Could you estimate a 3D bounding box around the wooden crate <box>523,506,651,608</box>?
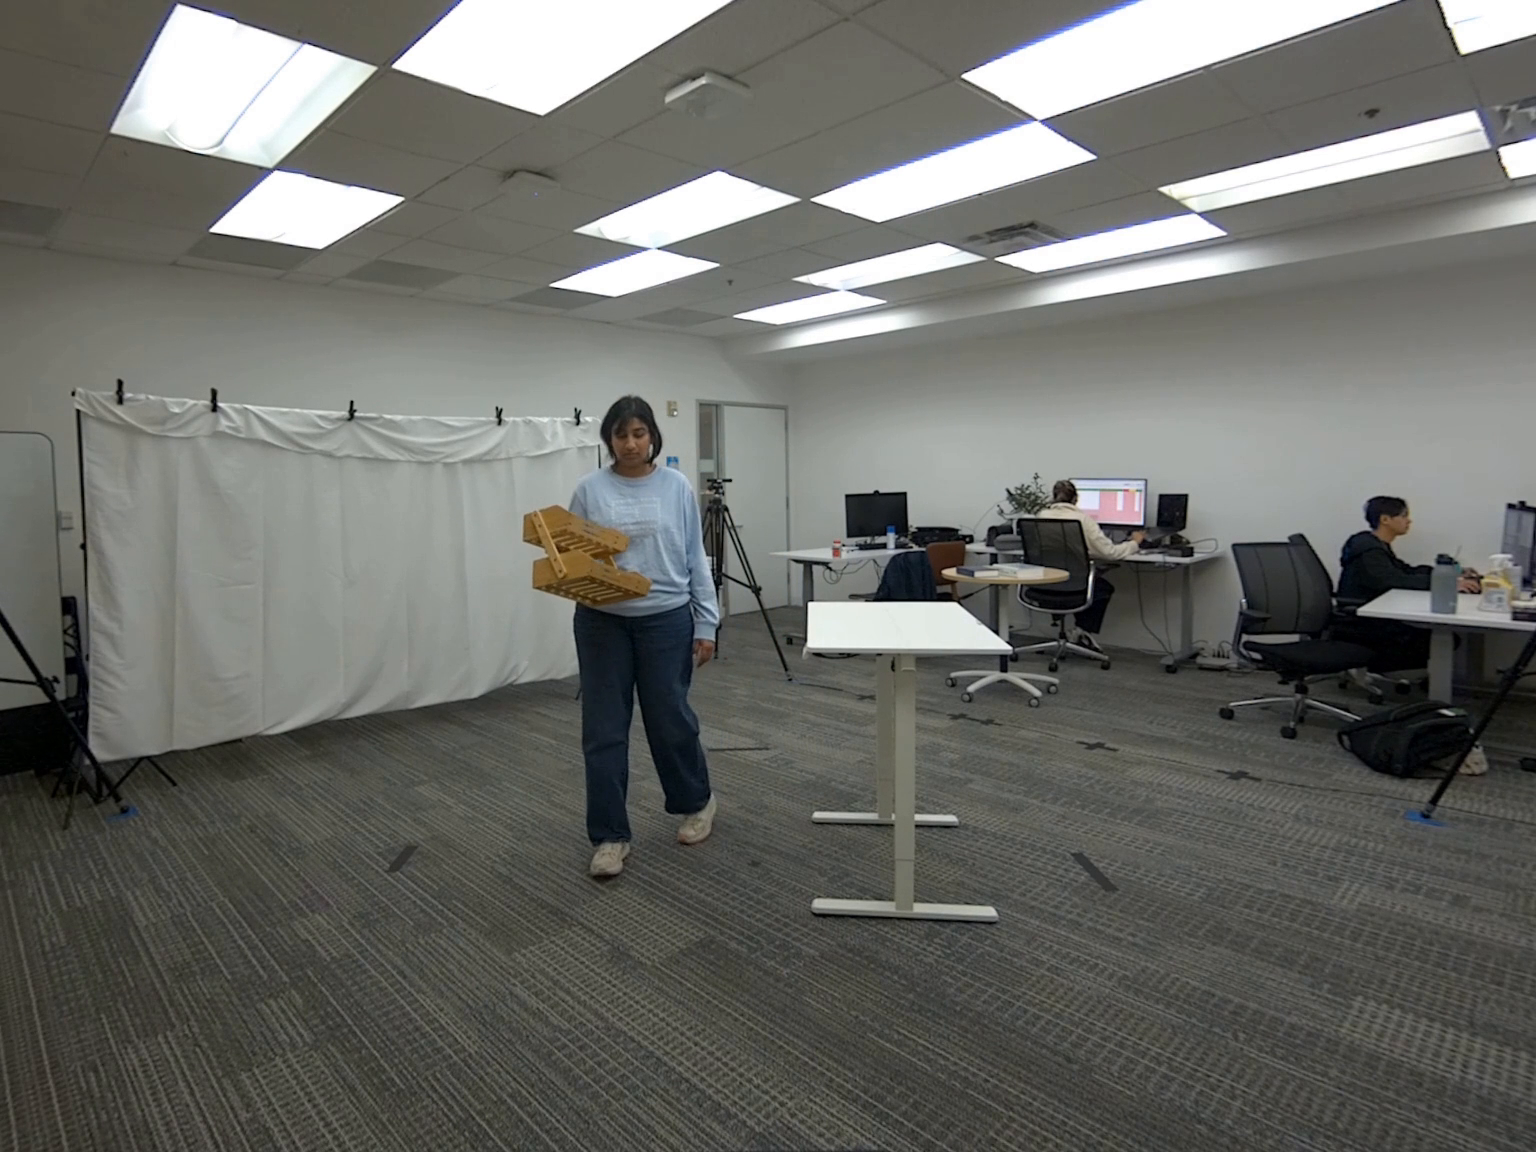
[{"bbox_3d":[-0.600,-0.073,2.809,0.307,0.278,0.313,-13,-20,27],"label":"wooden crate"}]
